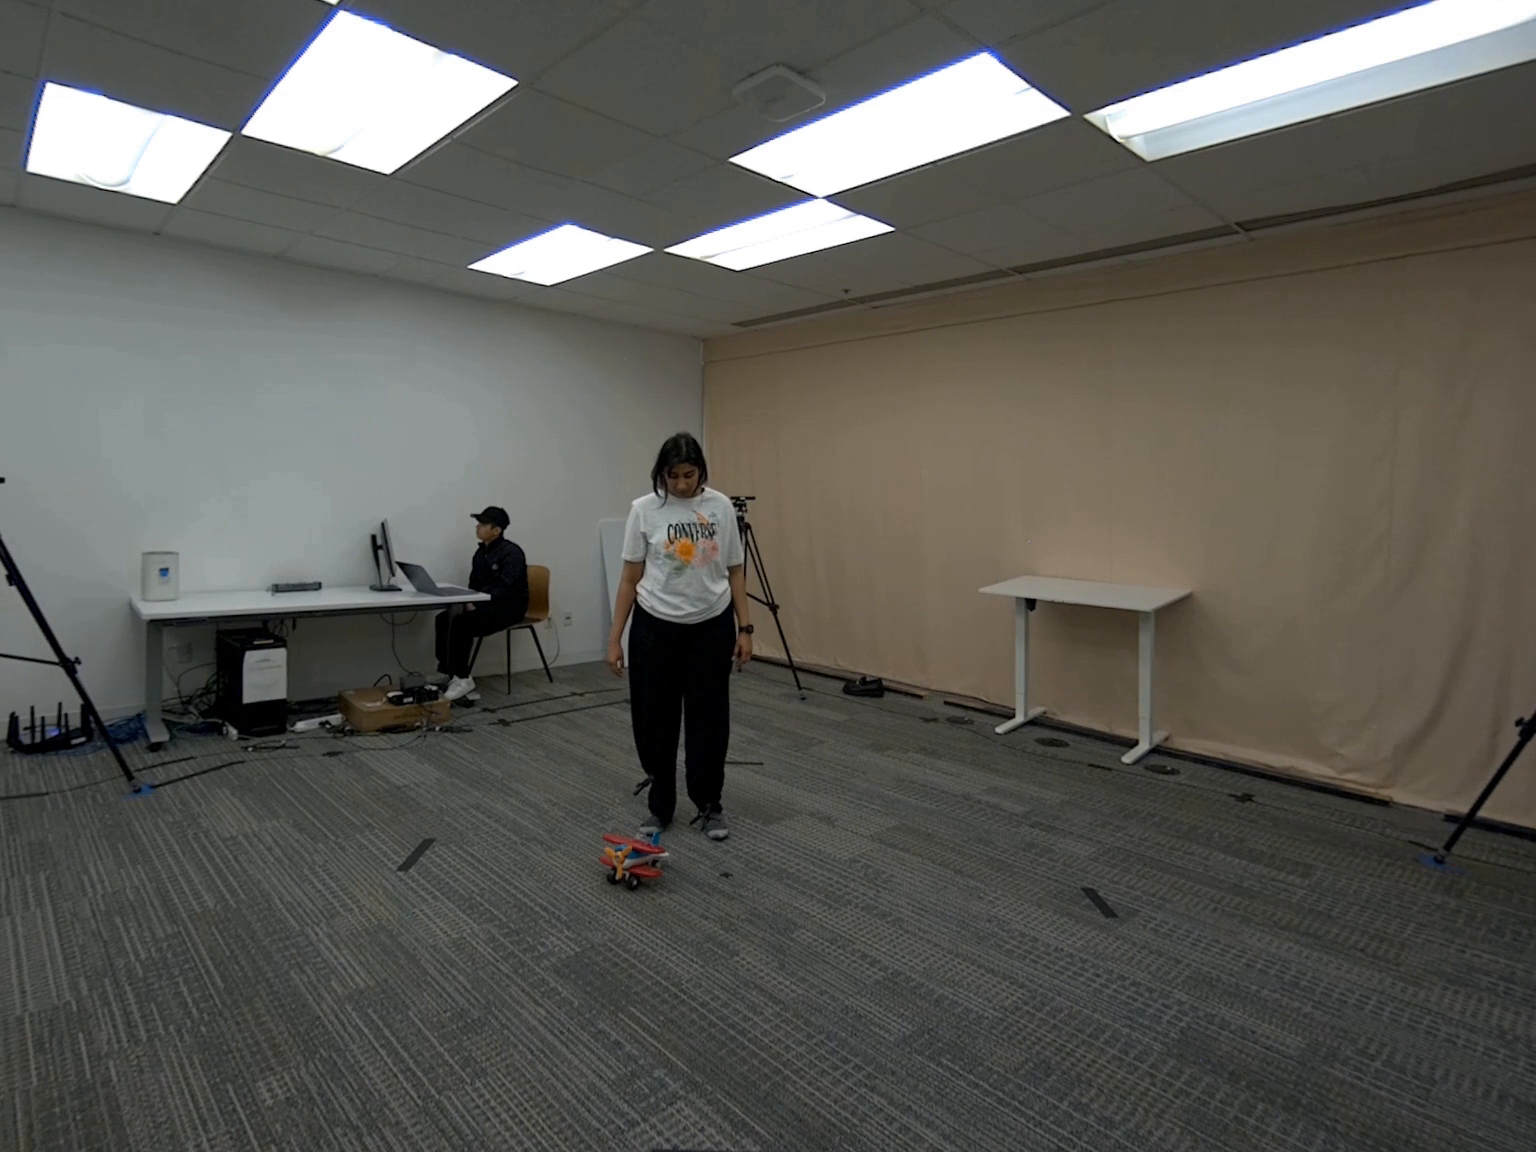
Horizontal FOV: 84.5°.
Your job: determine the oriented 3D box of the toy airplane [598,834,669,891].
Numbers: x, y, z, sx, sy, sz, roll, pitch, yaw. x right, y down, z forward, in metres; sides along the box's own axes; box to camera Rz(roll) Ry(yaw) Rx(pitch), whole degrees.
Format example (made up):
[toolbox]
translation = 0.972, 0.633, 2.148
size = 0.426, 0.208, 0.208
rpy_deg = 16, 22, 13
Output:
[toy airplane]
translation = -0.502, 1.025, 3.073
size = 0.251, 0.156, 0.260
rpy_deg = 1, 5, -1
